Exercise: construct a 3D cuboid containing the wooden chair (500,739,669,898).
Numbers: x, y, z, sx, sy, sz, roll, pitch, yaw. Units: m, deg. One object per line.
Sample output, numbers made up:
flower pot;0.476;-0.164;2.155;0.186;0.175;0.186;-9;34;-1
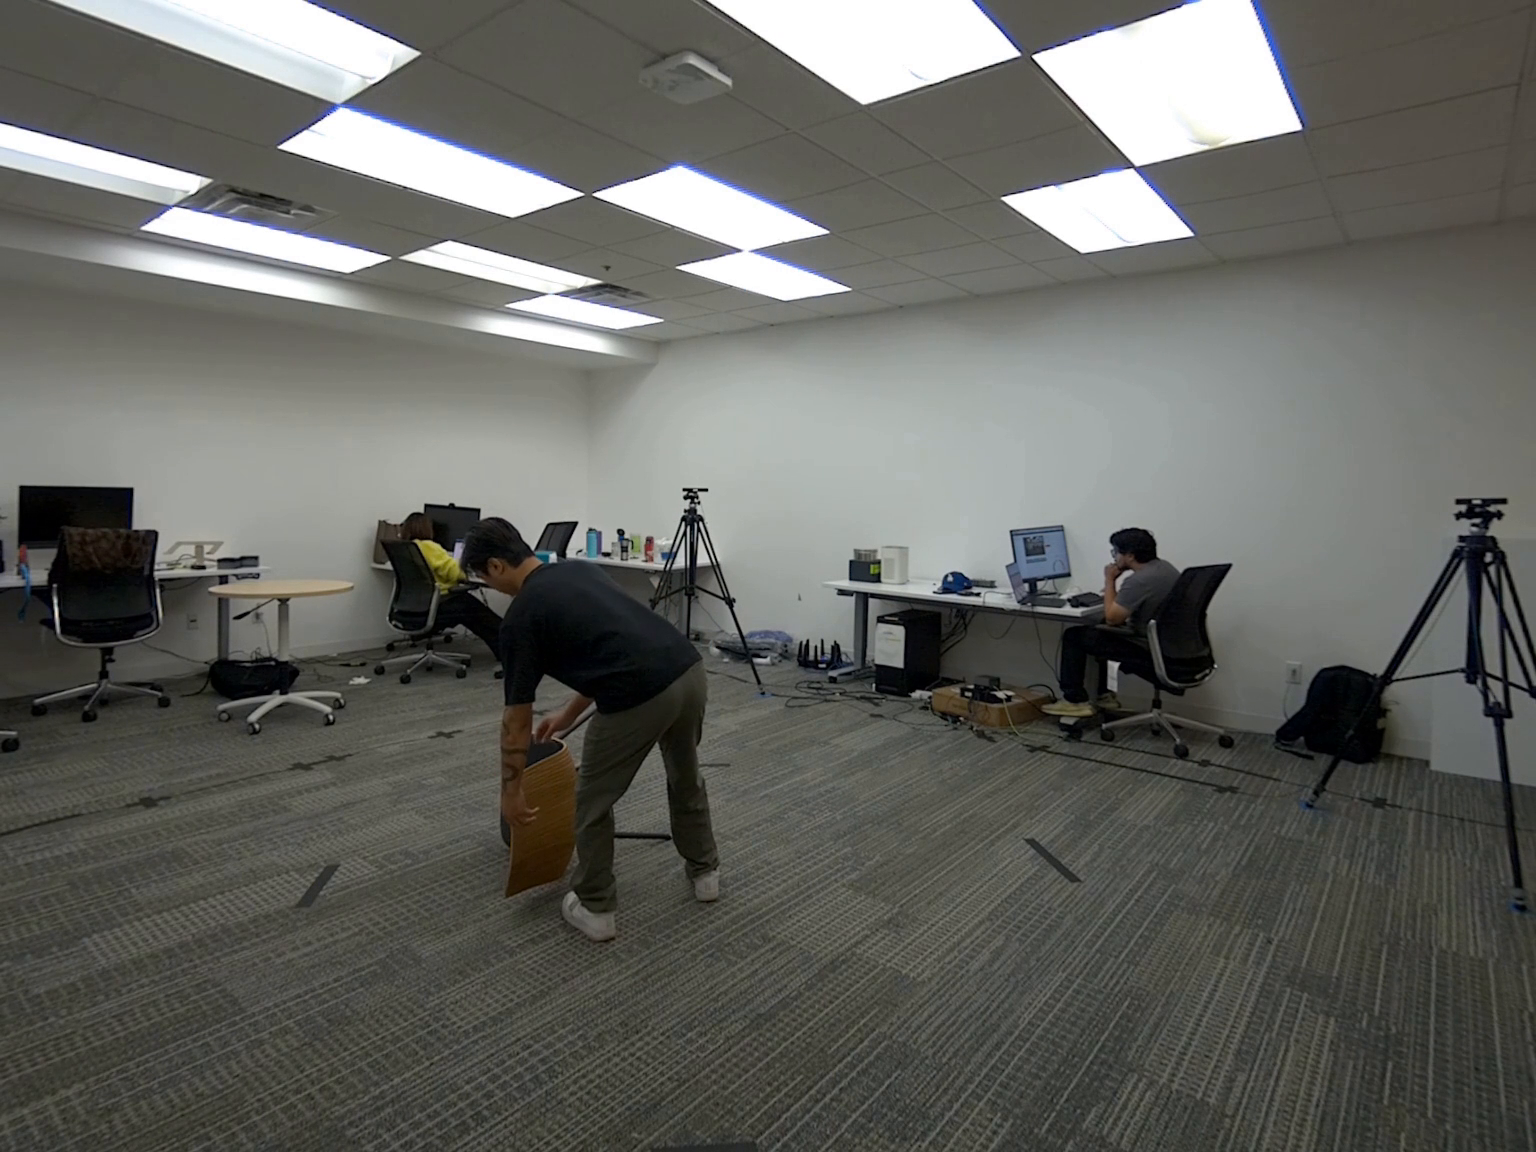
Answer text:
wooden chair;-0.817;0.821;3.170;0.539;0.476;0.854;4;5;31
